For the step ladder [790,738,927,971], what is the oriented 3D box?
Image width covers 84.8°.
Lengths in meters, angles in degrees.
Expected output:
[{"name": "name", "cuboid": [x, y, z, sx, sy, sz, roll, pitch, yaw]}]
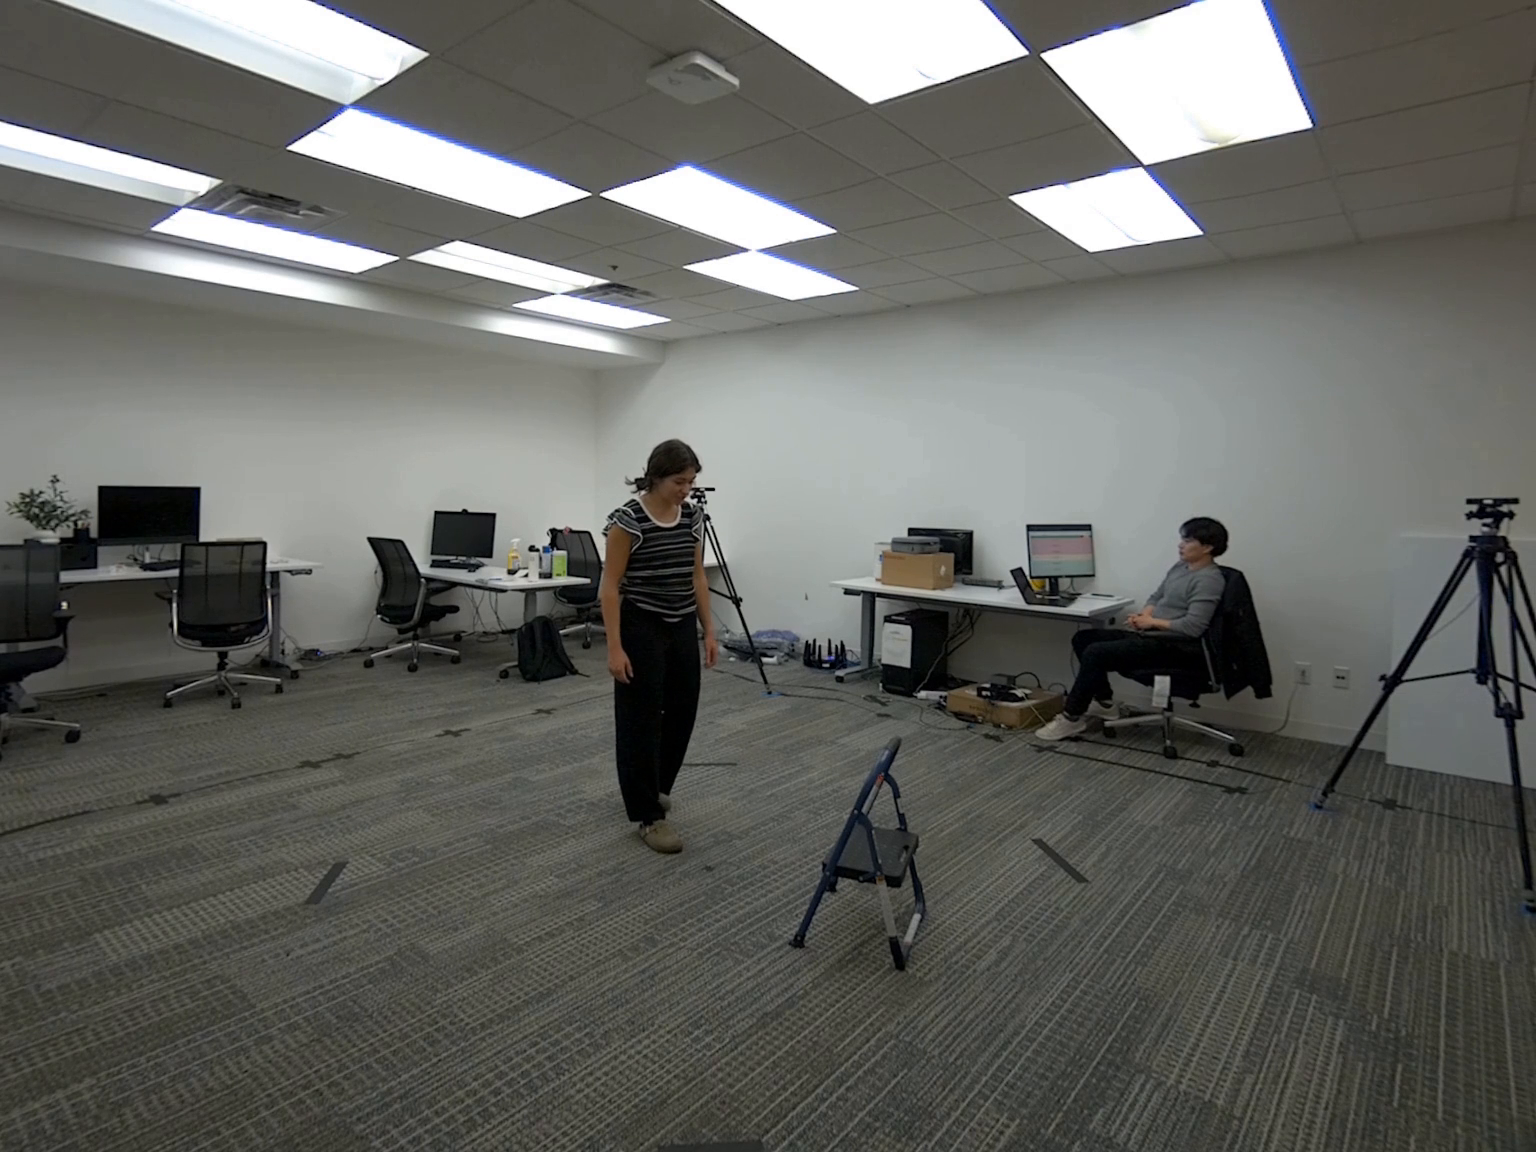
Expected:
[{"name": "step ladder", "cuboid": [0.298, 0.817, 2.705, 0.357, 0.604, 0.423, 2, 4, 20]}]
